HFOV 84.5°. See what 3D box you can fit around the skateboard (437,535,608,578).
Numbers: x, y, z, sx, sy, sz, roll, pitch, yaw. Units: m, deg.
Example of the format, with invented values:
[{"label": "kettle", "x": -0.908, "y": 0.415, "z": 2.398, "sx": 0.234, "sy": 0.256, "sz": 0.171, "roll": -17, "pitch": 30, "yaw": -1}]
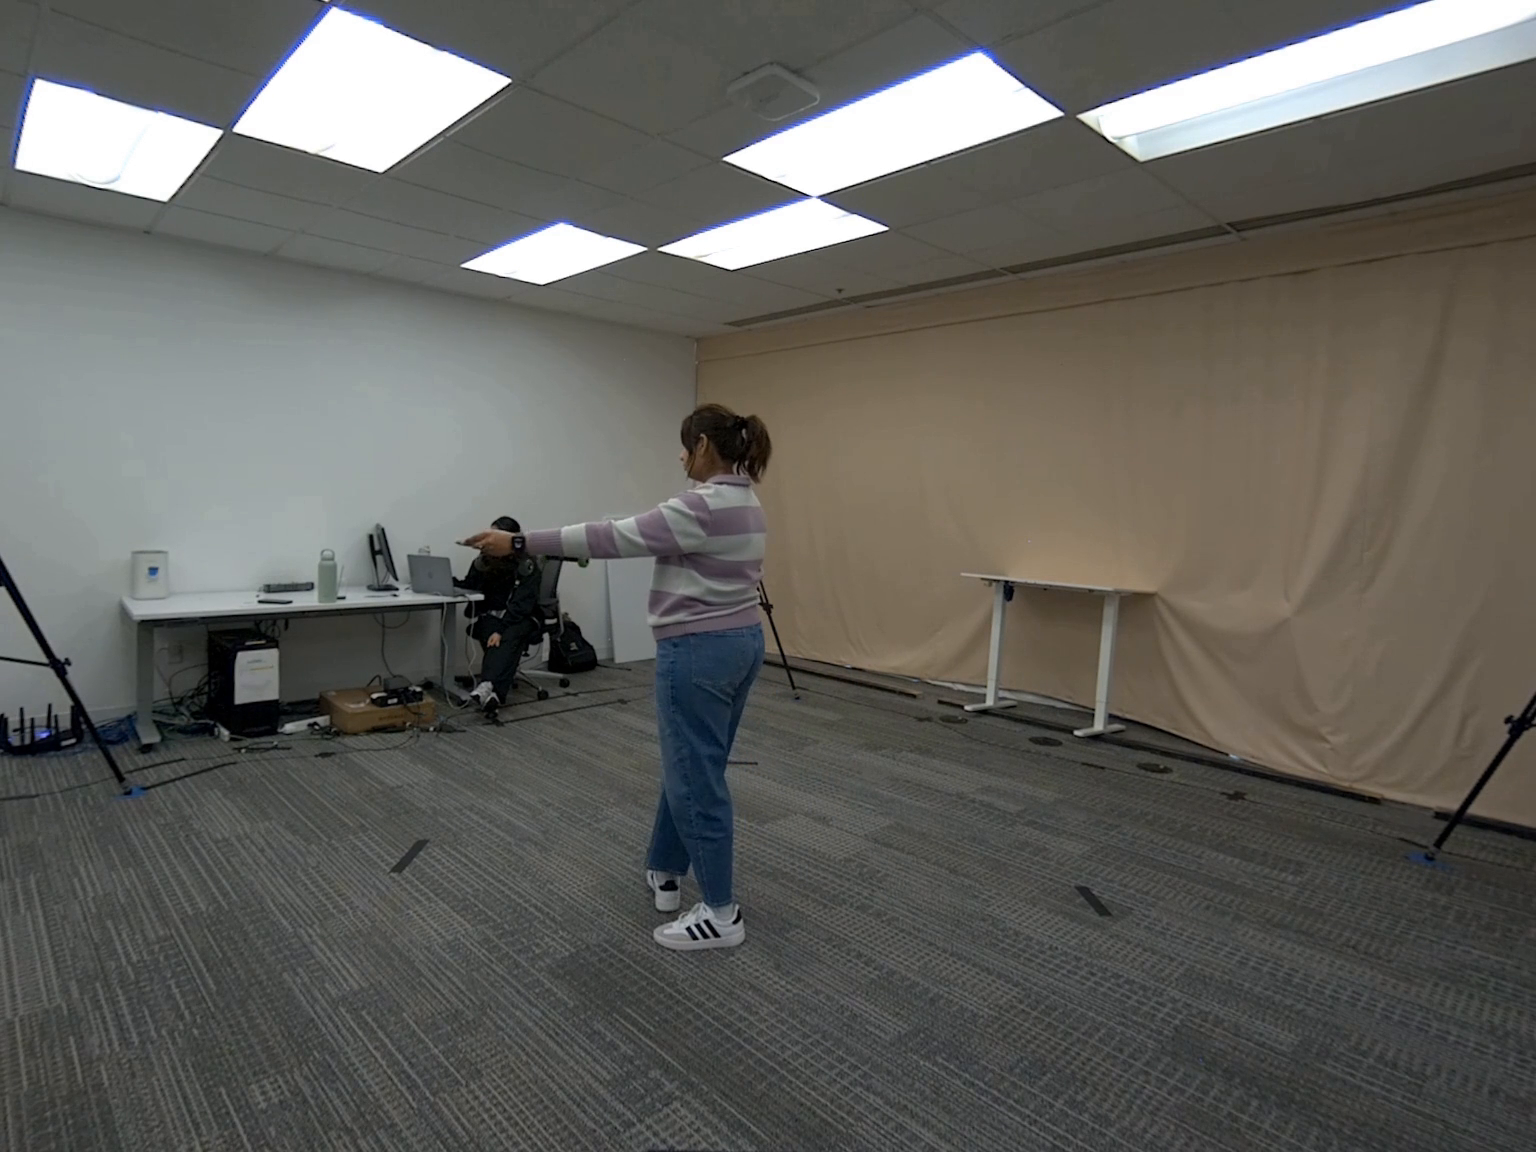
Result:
[{"label": "skateboard", "x": -0.770, "y": -0.077, "z": 2.775, "sx": 0.195, "sy": 0.110, "sz": 0.778, "roll": 2, "pitch": 4, "yaw": 12}]
